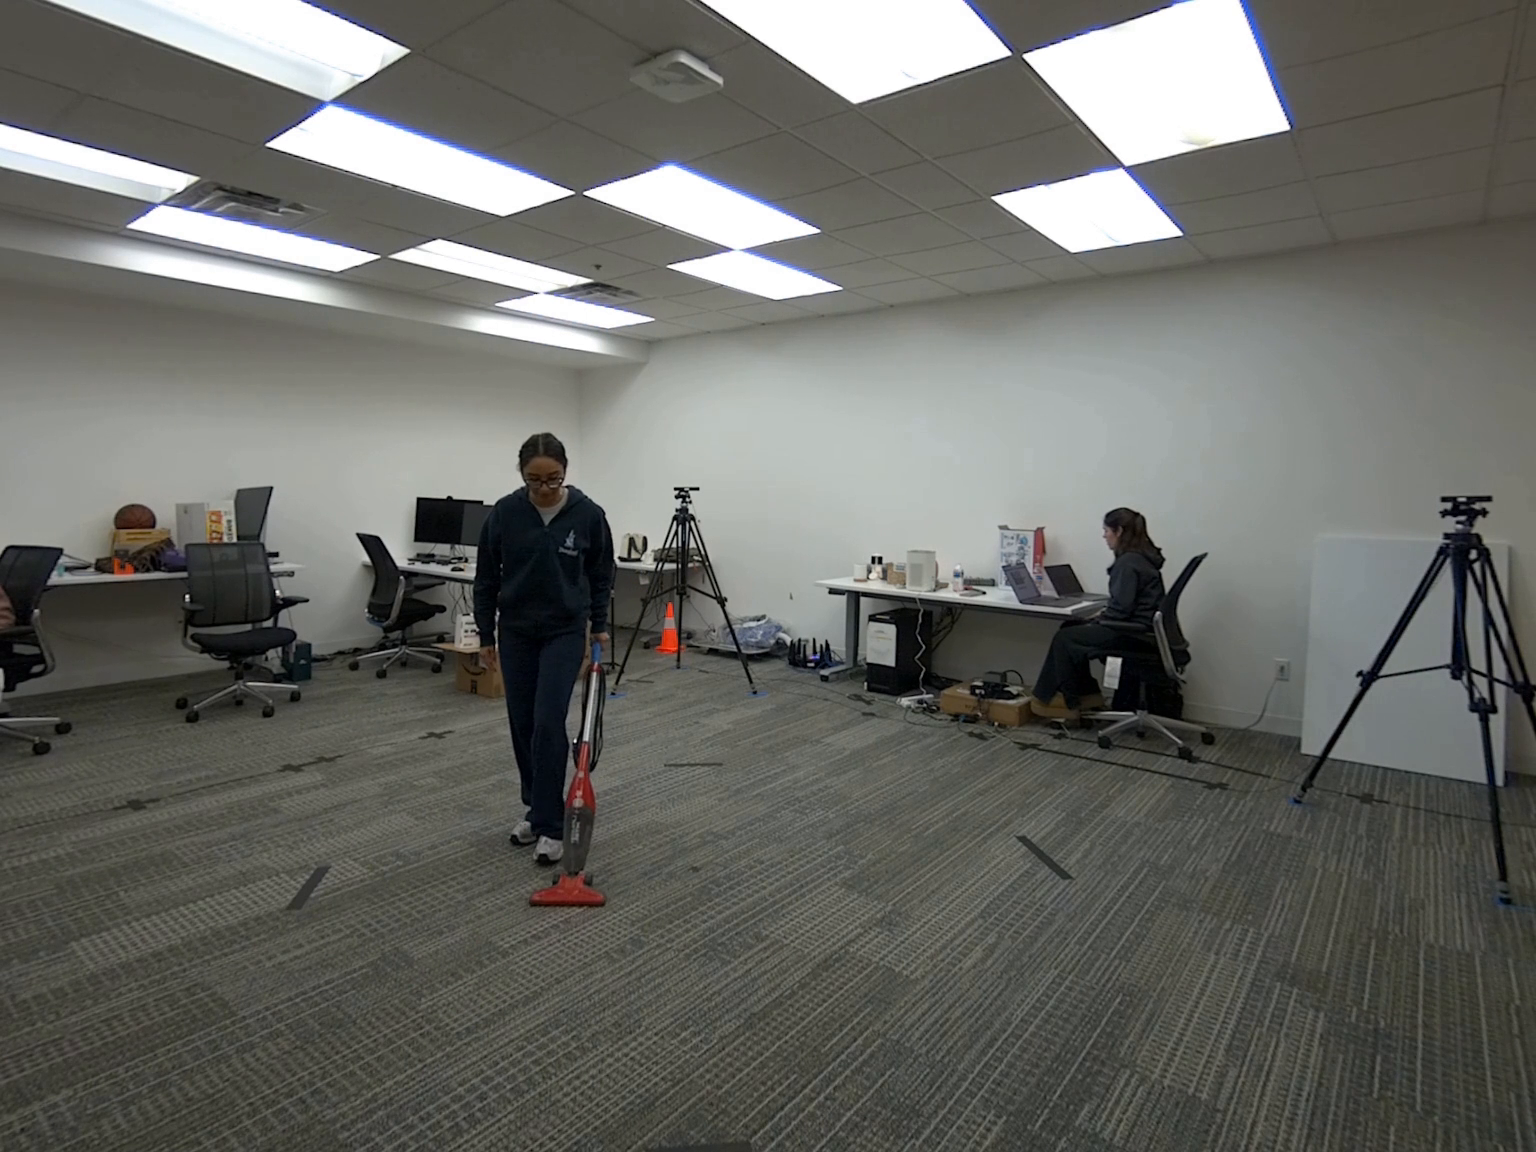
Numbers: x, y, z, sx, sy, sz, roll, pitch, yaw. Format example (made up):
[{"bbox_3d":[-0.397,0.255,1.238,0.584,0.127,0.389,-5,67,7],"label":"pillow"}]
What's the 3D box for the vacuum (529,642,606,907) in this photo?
[{"bbox_3d":[-0.683,0.650,3.178,0.253,1.078,0.140,-1,-38,2],"label":"vacuum"}]
